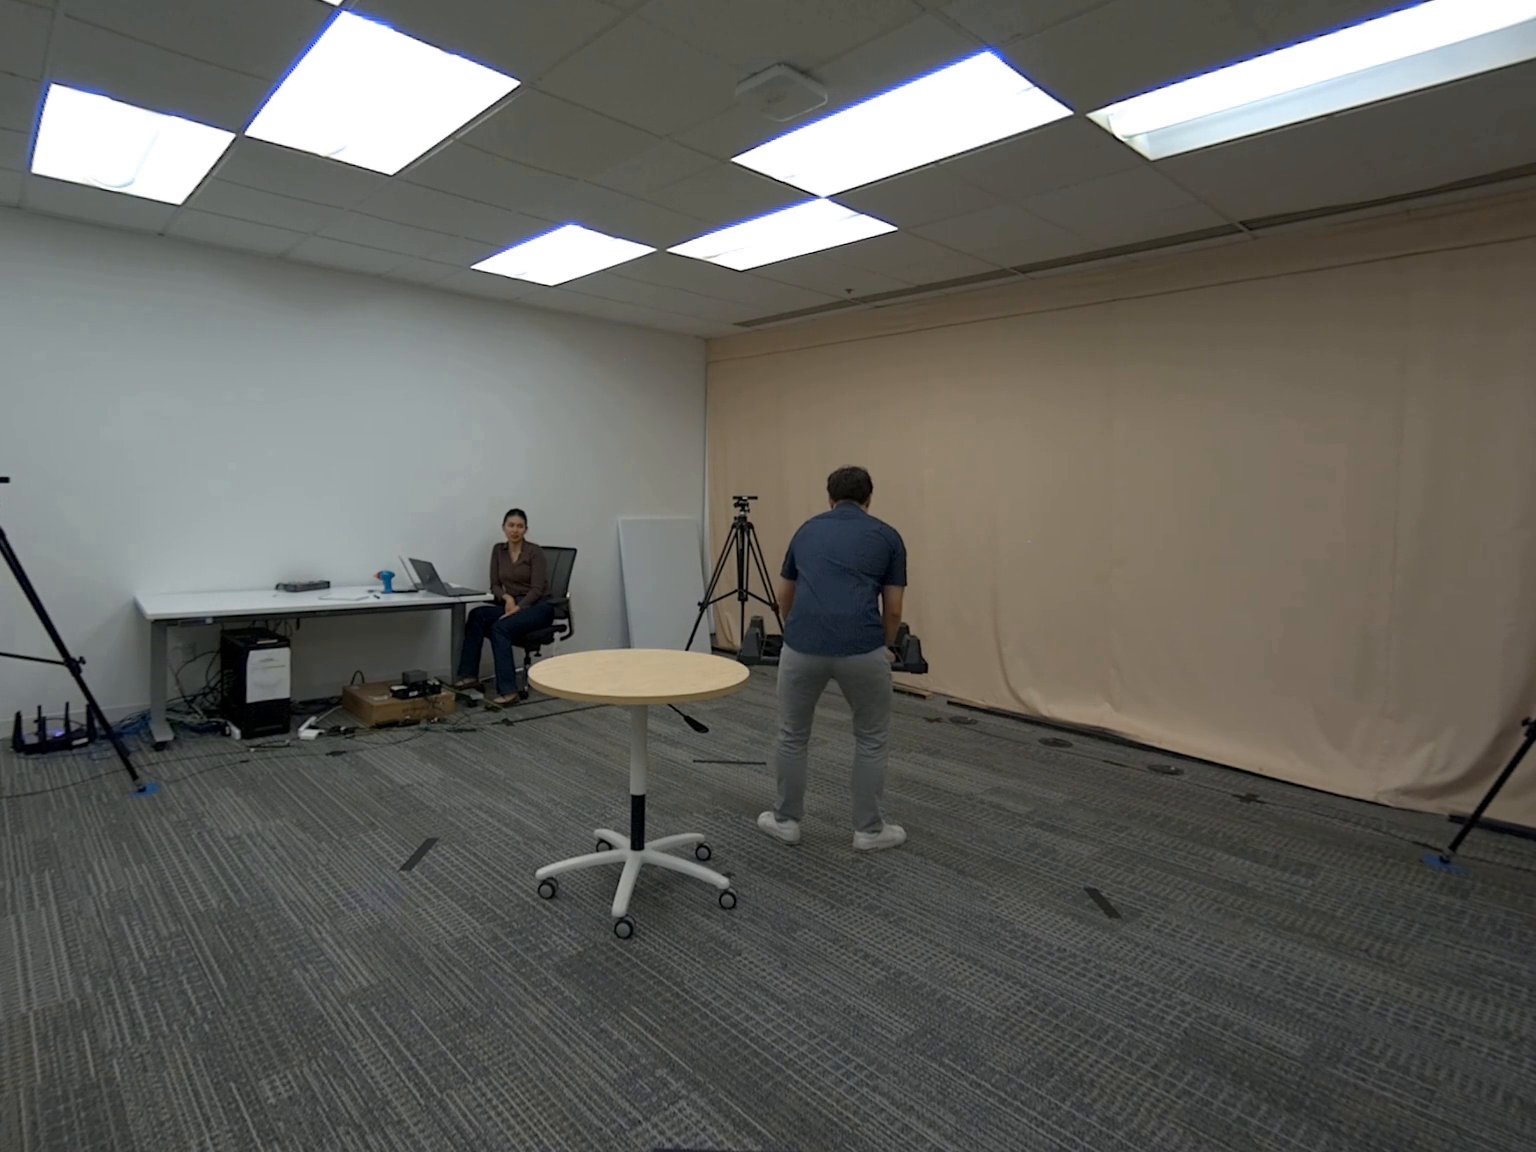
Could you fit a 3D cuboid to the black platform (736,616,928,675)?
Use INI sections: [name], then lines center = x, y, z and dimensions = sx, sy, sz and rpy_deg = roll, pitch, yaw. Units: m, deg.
[black platform]
center = 0.281, 0.302, 3.805
dimensions = 0.809, 0.143, 0.605
rpy_deg = 3, 7, 4
